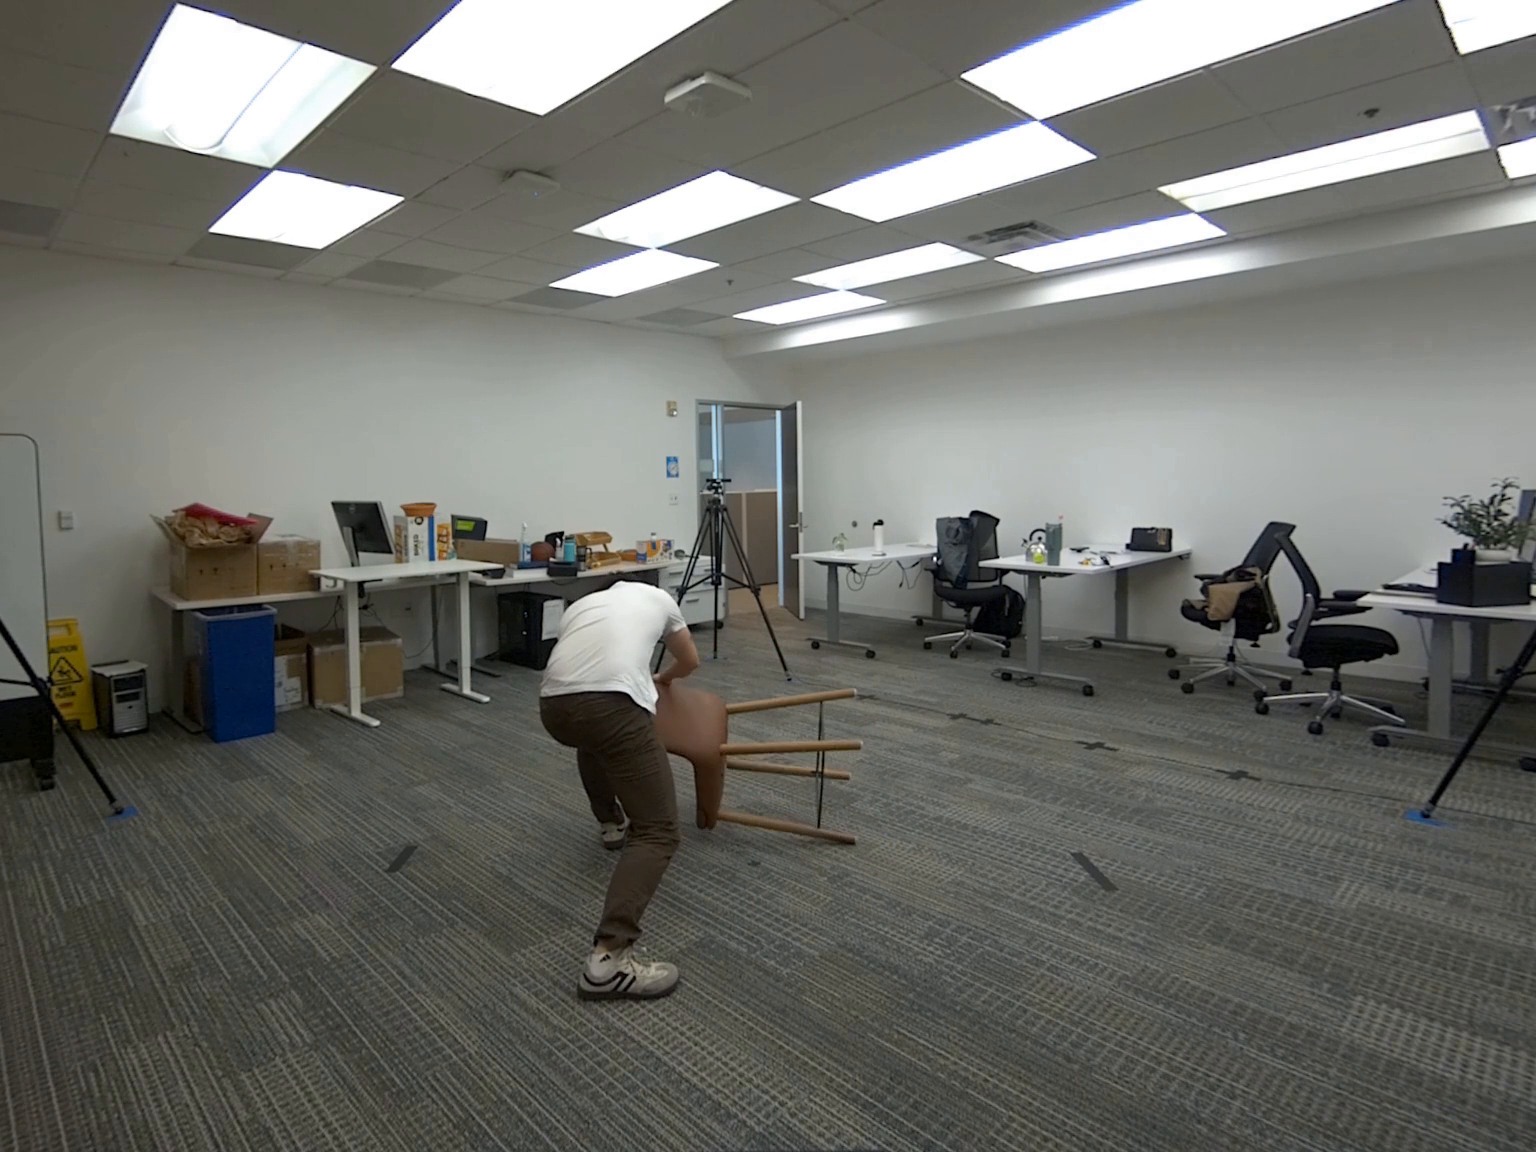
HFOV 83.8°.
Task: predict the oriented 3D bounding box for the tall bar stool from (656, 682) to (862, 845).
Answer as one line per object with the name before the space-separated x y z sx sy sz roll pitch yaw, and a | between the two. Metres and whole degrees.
tall bar stool | -0.091 0.712 3.384 0.894 0.459 0.463 4 24 4
